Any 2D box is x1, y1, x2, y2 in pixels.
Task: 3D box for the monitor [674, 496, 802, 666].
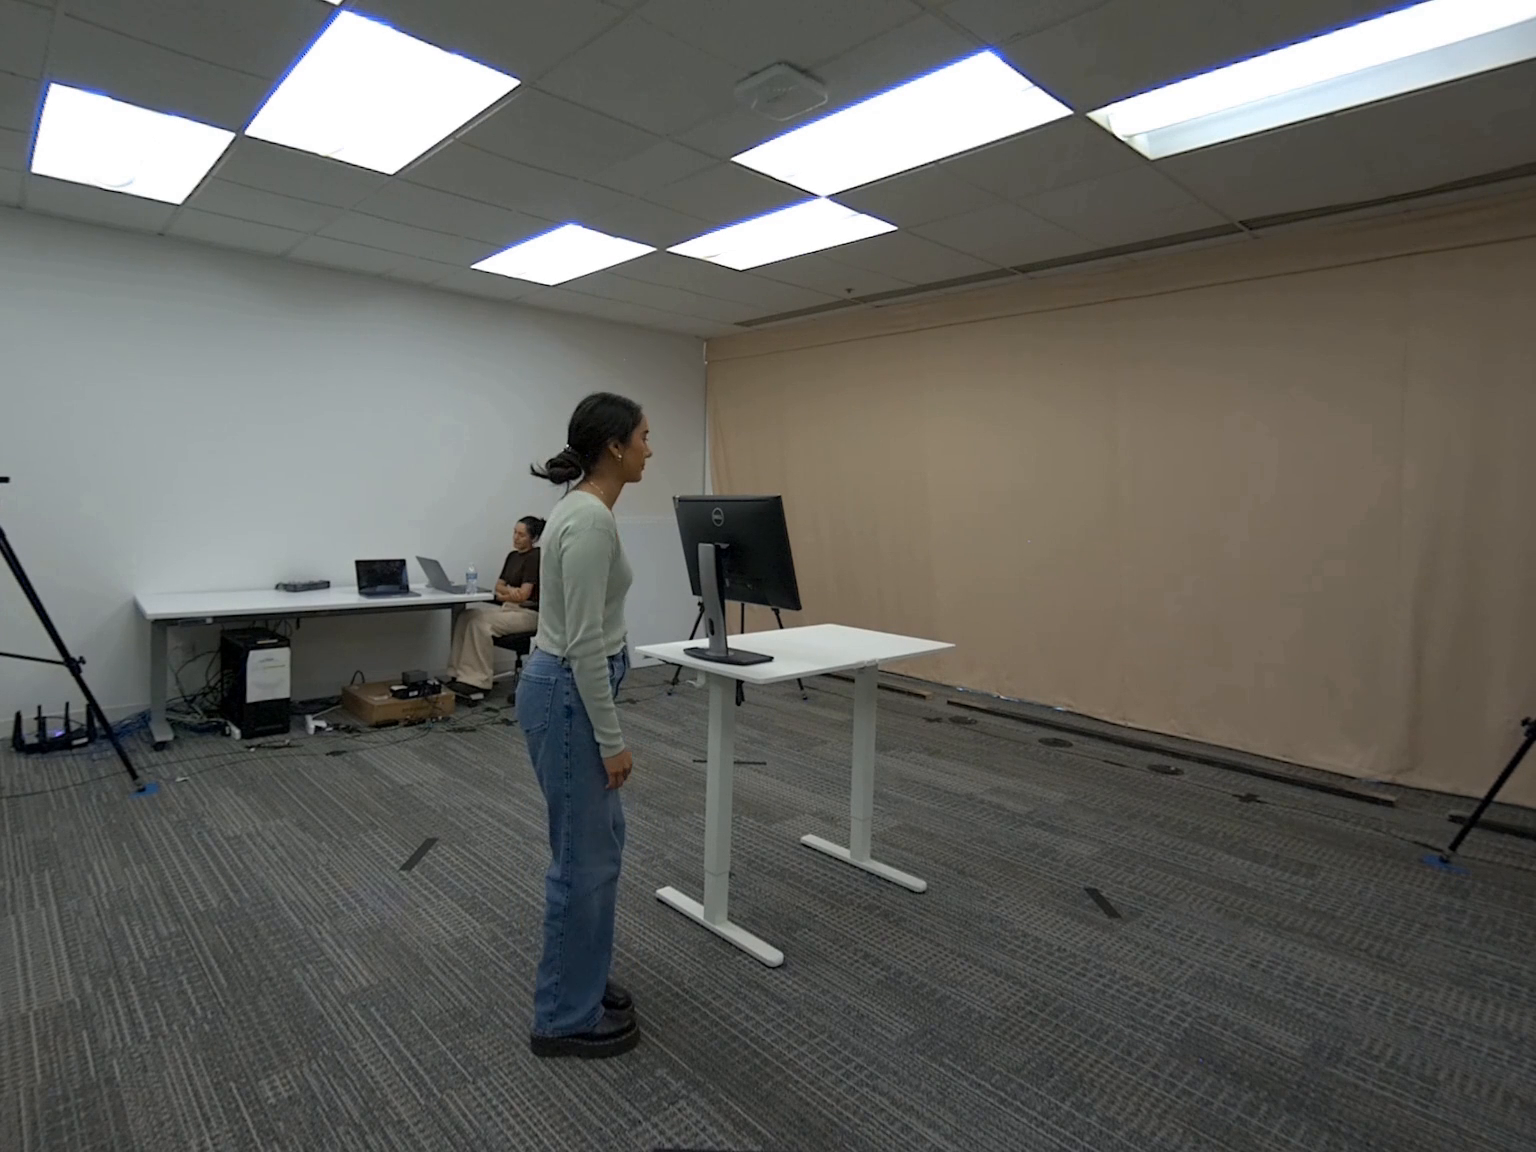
[{"bbox_3d":[-0.138,0.011,2.636,0.183,0.521,0.553,-3,6,-42],"label":"monitor"}]
